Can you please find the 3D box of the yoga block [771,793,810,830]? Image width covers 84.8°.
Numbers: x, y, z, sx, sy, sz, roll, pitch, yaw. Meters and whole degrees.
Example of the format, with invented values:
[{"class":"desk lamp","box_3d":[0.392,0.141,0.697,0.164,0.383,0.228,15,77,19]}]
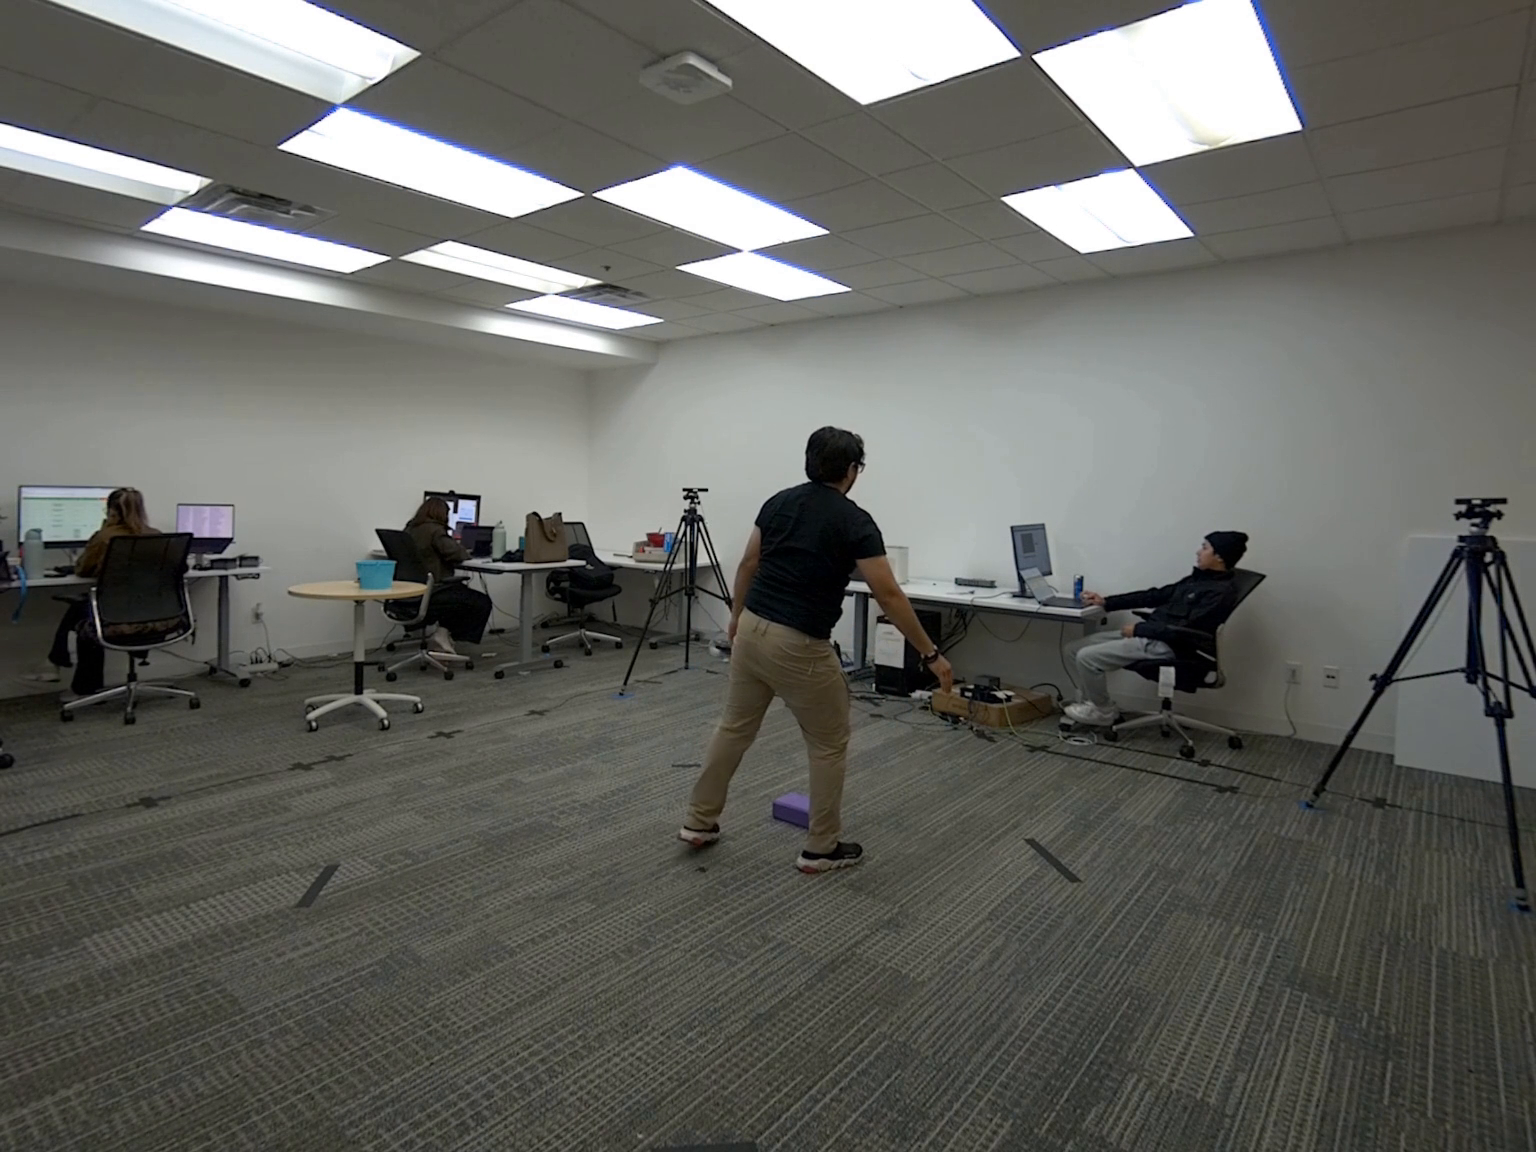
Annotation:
[{"class":"yoga block","box_3d":[0.141,0.990,3.601,0.237,0.076,0.145,4,7,38]}]
